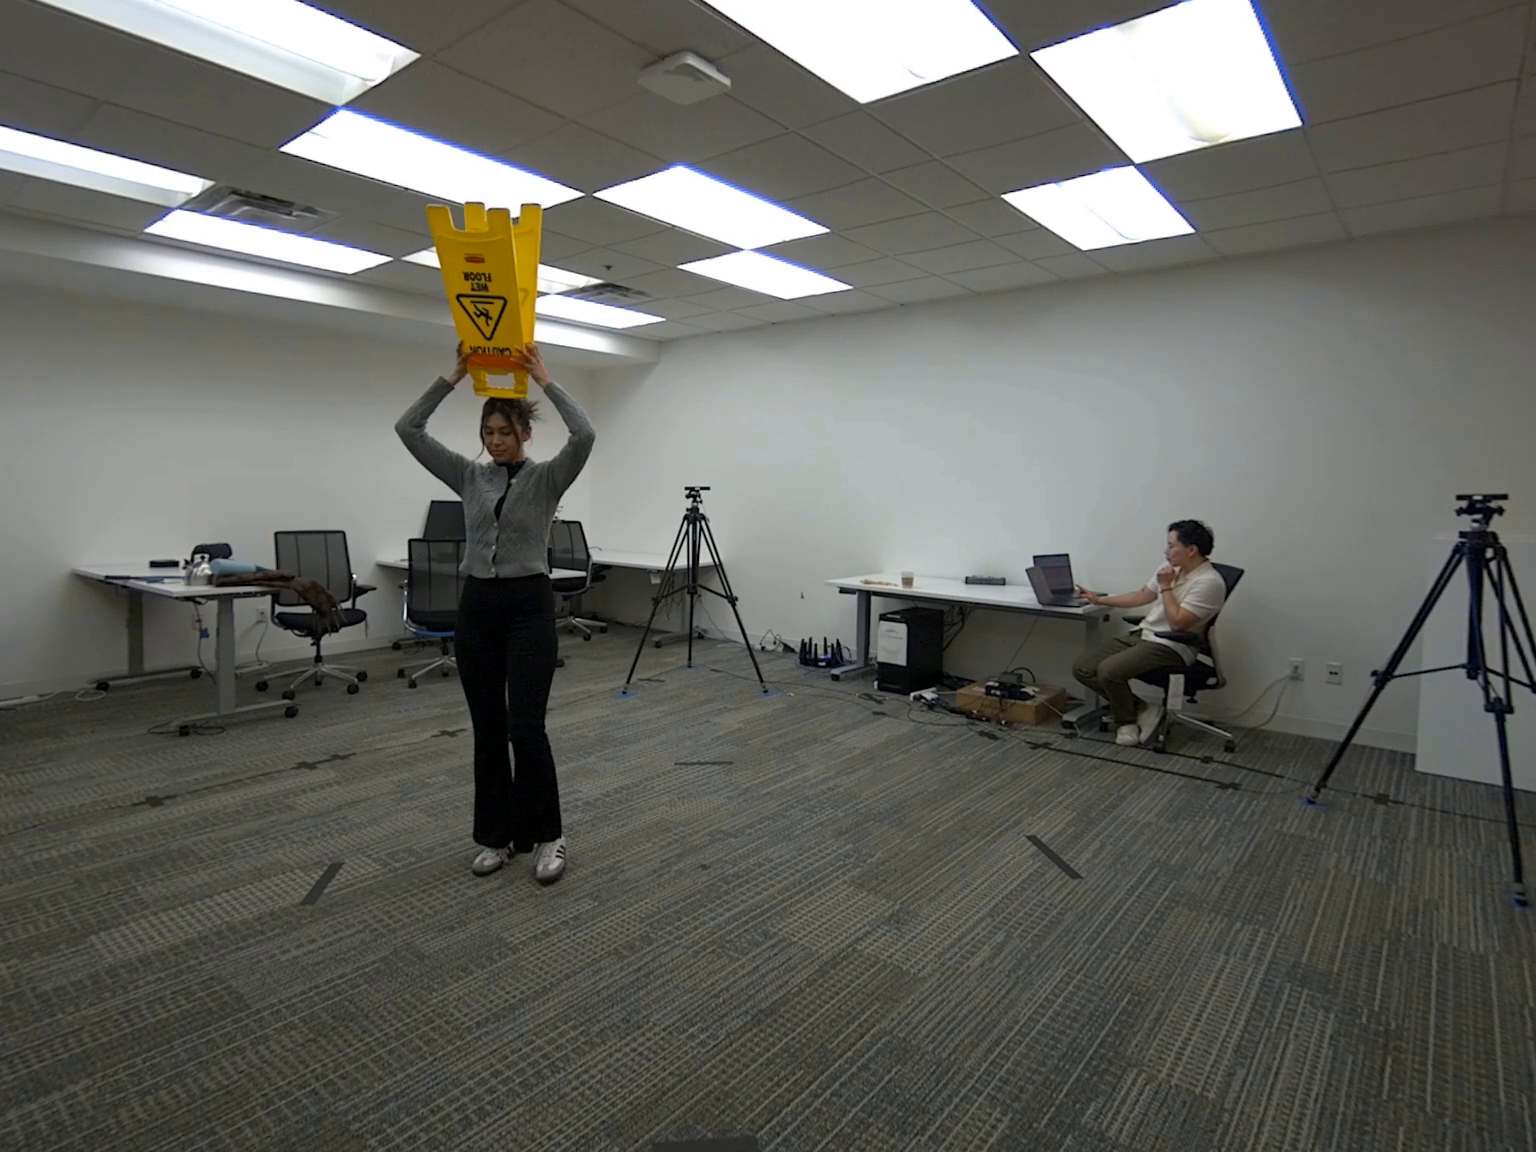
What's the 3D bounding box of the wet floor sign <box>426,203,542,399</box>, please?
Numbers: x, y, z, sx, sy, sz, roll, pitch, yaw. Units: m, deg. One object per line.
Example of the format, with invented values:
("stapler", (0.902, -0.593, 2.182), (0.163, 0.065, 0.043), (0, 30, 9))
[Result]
("wet floor sign", (-0.950, -0.930, 2.908), (0.285, 0.632, 0.293), (6, 25, 6))
